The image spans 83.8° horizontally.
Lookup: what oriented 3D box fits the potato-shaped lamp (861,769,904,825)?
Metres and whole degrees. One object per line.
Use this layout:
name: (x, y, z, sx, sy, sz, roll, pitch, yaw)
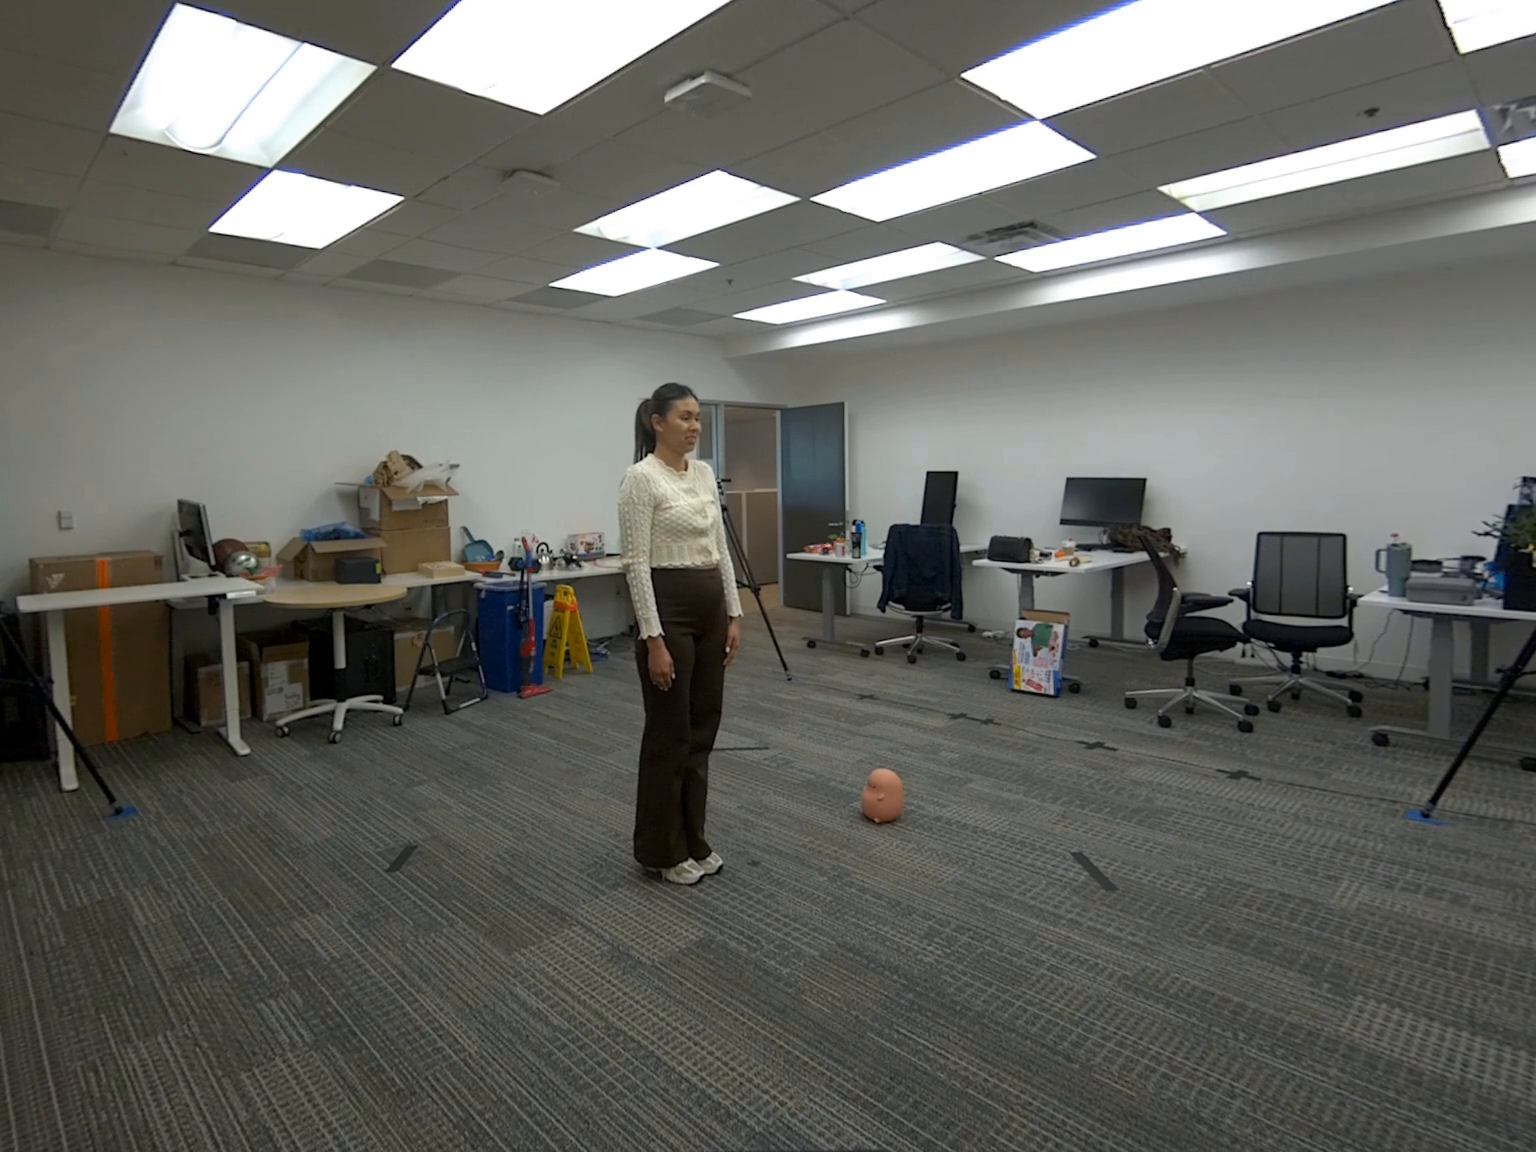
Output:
potato-shaped lamp: (0.473, 0.893, 3.498, 0.168, 0.197, 0.168, 2, 3, -21)
